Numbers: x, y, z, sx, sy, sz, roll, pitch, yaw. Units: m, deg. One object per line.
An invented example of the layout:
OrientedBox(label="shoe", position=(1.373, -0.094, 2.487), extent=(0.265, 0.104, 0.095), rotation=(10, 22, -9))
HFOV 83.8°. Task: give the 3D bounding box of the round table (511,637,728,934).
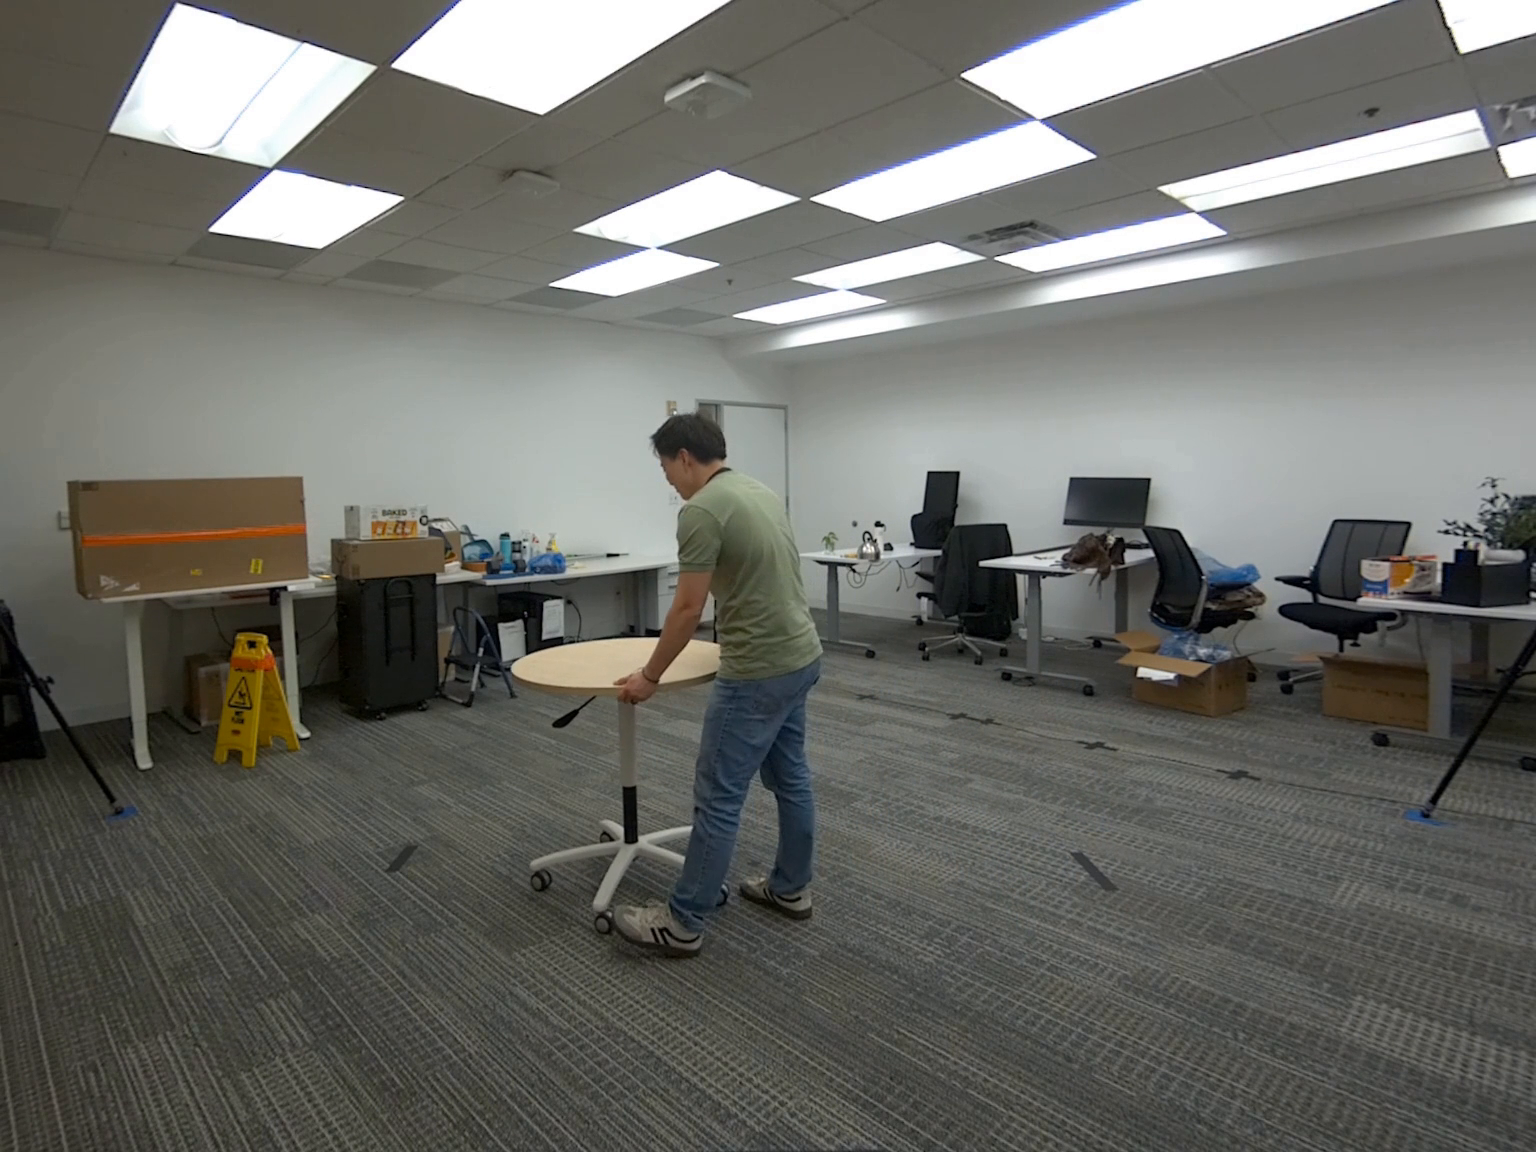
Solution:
OrientedBox(label="round table", position=(-0.475, 0.678, 2.966), extent=(0.763, 0.790, 0.768), rotation=(-1, 5, -2))
